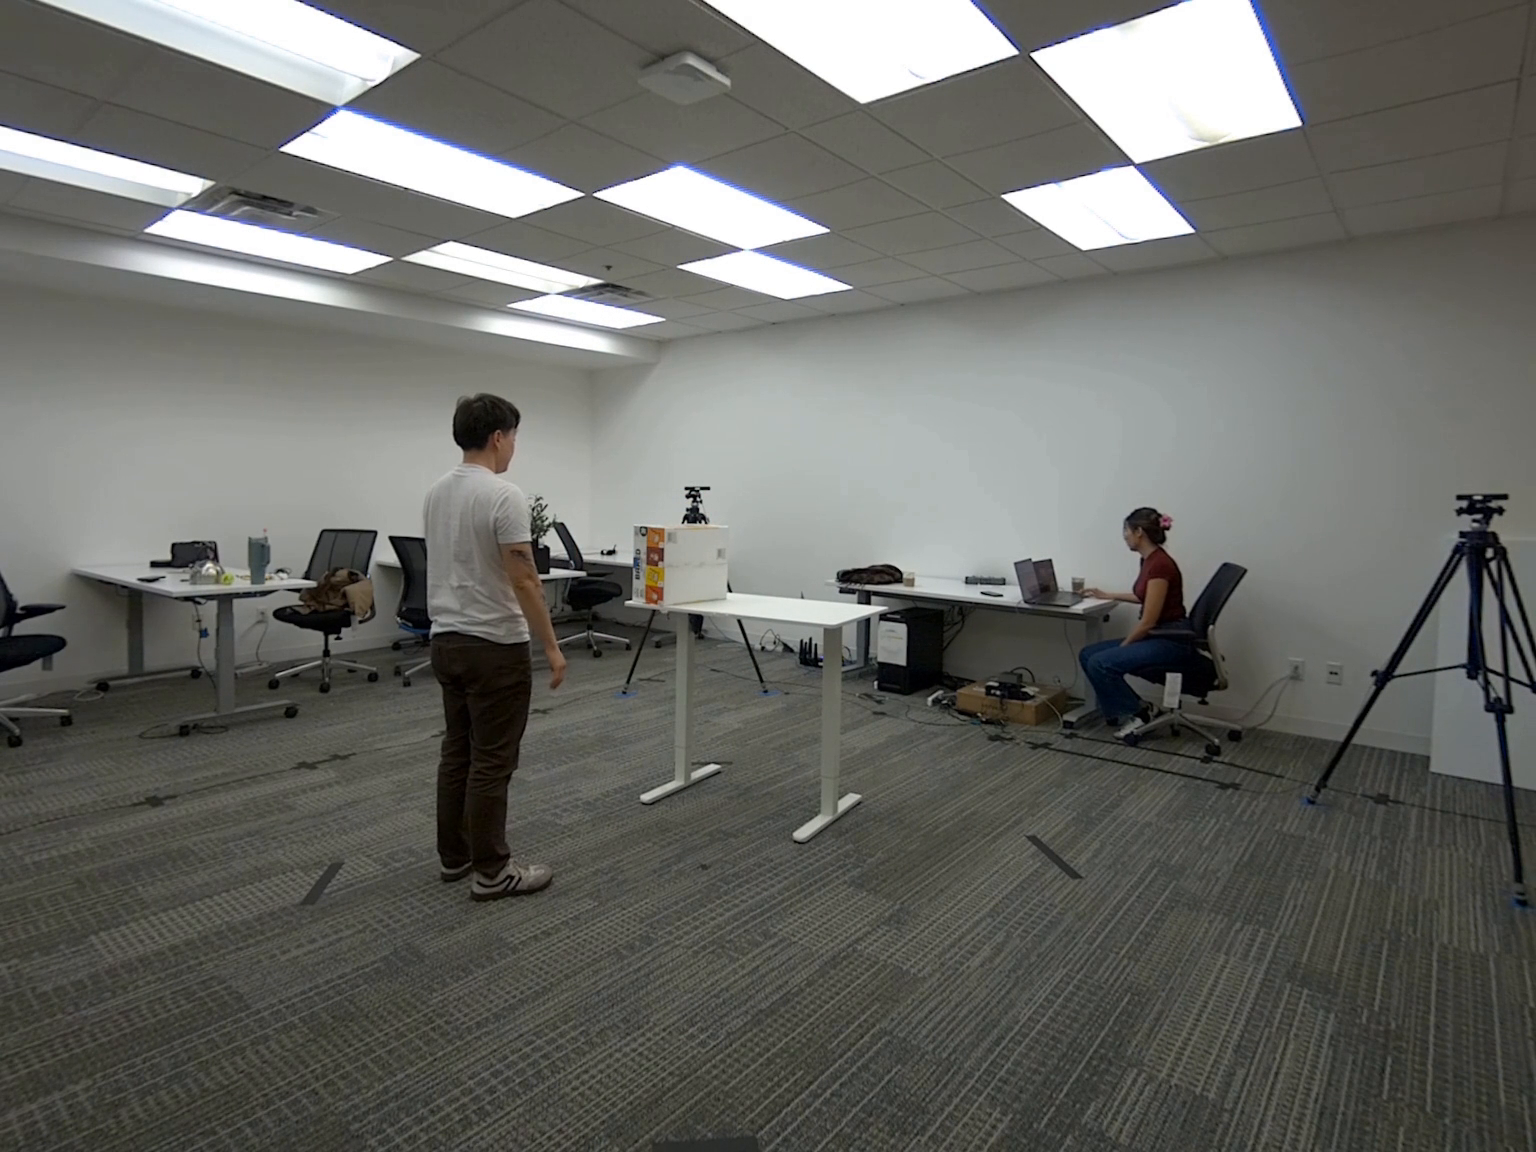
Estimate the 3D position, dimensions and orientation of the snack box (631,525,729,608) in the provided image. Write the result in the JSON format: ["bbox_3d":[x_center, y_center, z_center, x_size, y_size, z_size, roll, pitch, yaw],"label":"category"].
[{"bbox_3d":[-0.402,-0.061,3.832,0.213,0.339,0.393,6,7,43],"label":"snack box"}]
